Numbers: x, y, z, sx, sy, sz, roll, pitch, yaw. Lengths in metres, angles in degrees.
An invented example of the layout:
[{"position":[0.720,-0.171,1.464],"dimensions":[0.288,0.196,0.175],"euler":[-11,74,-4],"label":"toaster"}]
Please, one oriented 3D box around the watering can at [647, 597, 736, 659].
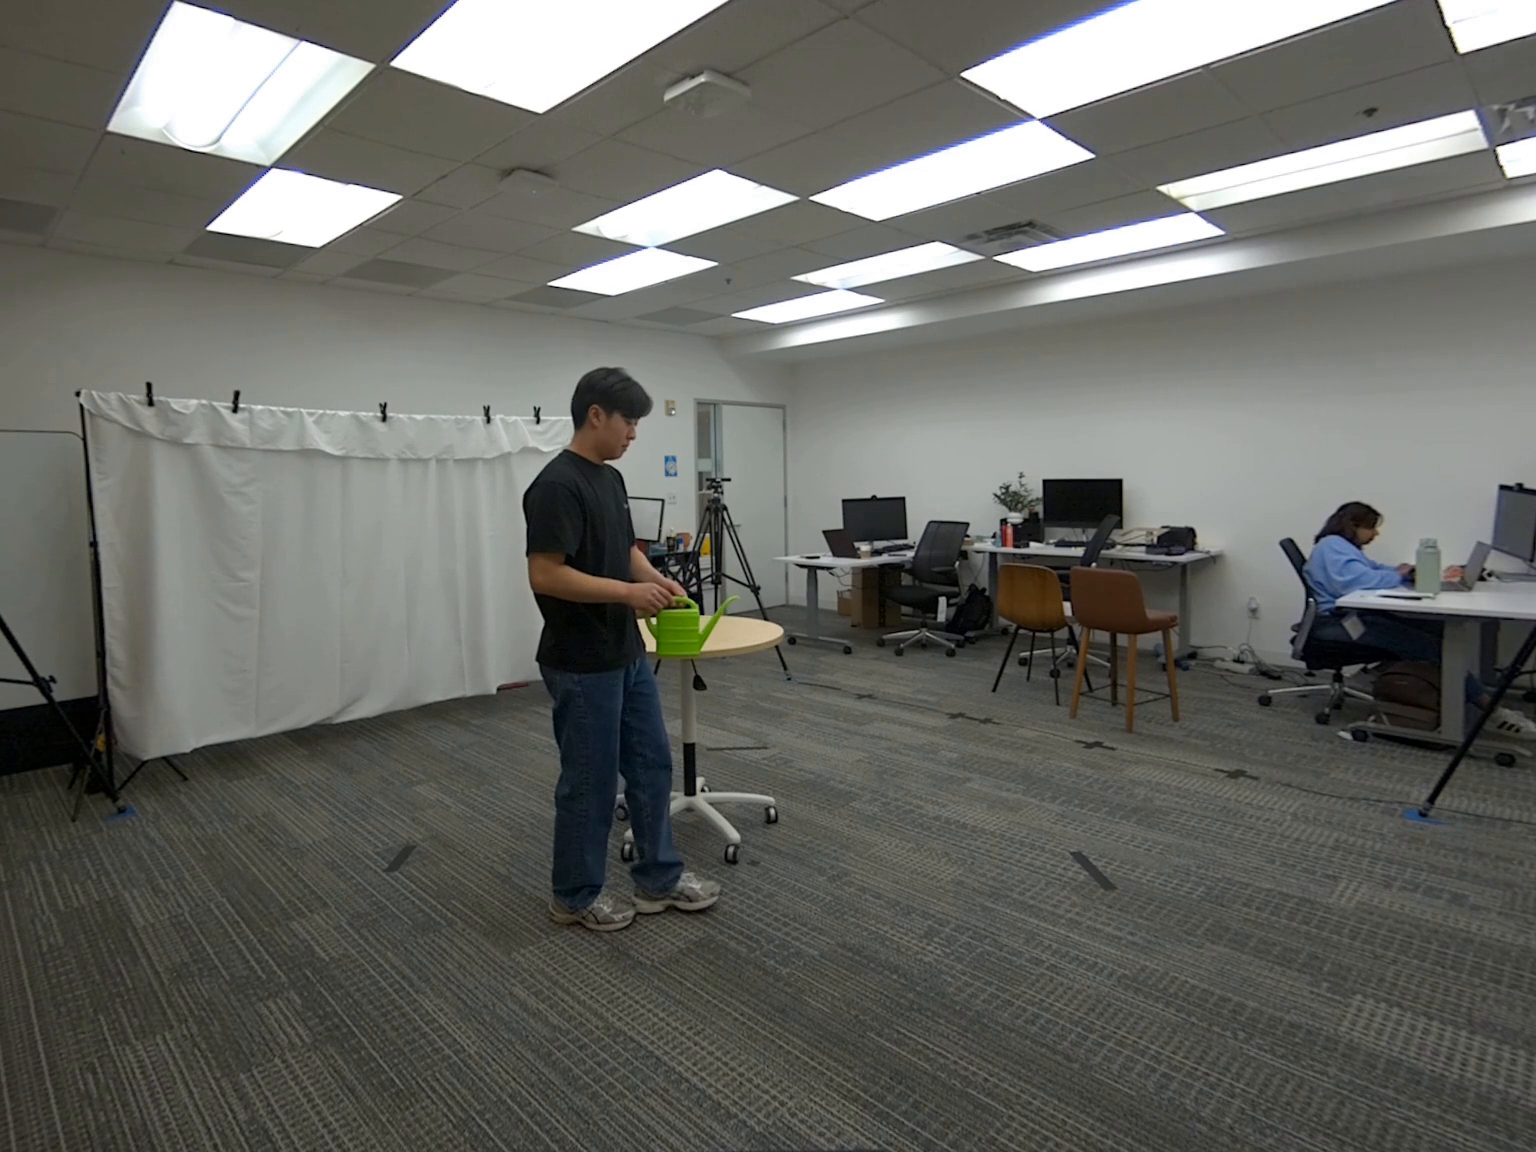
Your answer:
[{"position":[-0.217,0.147,2.519],"dimensions":[0.280,0.177,0.097],"euler":[-1,-2,6],"label":"watering can"}]
